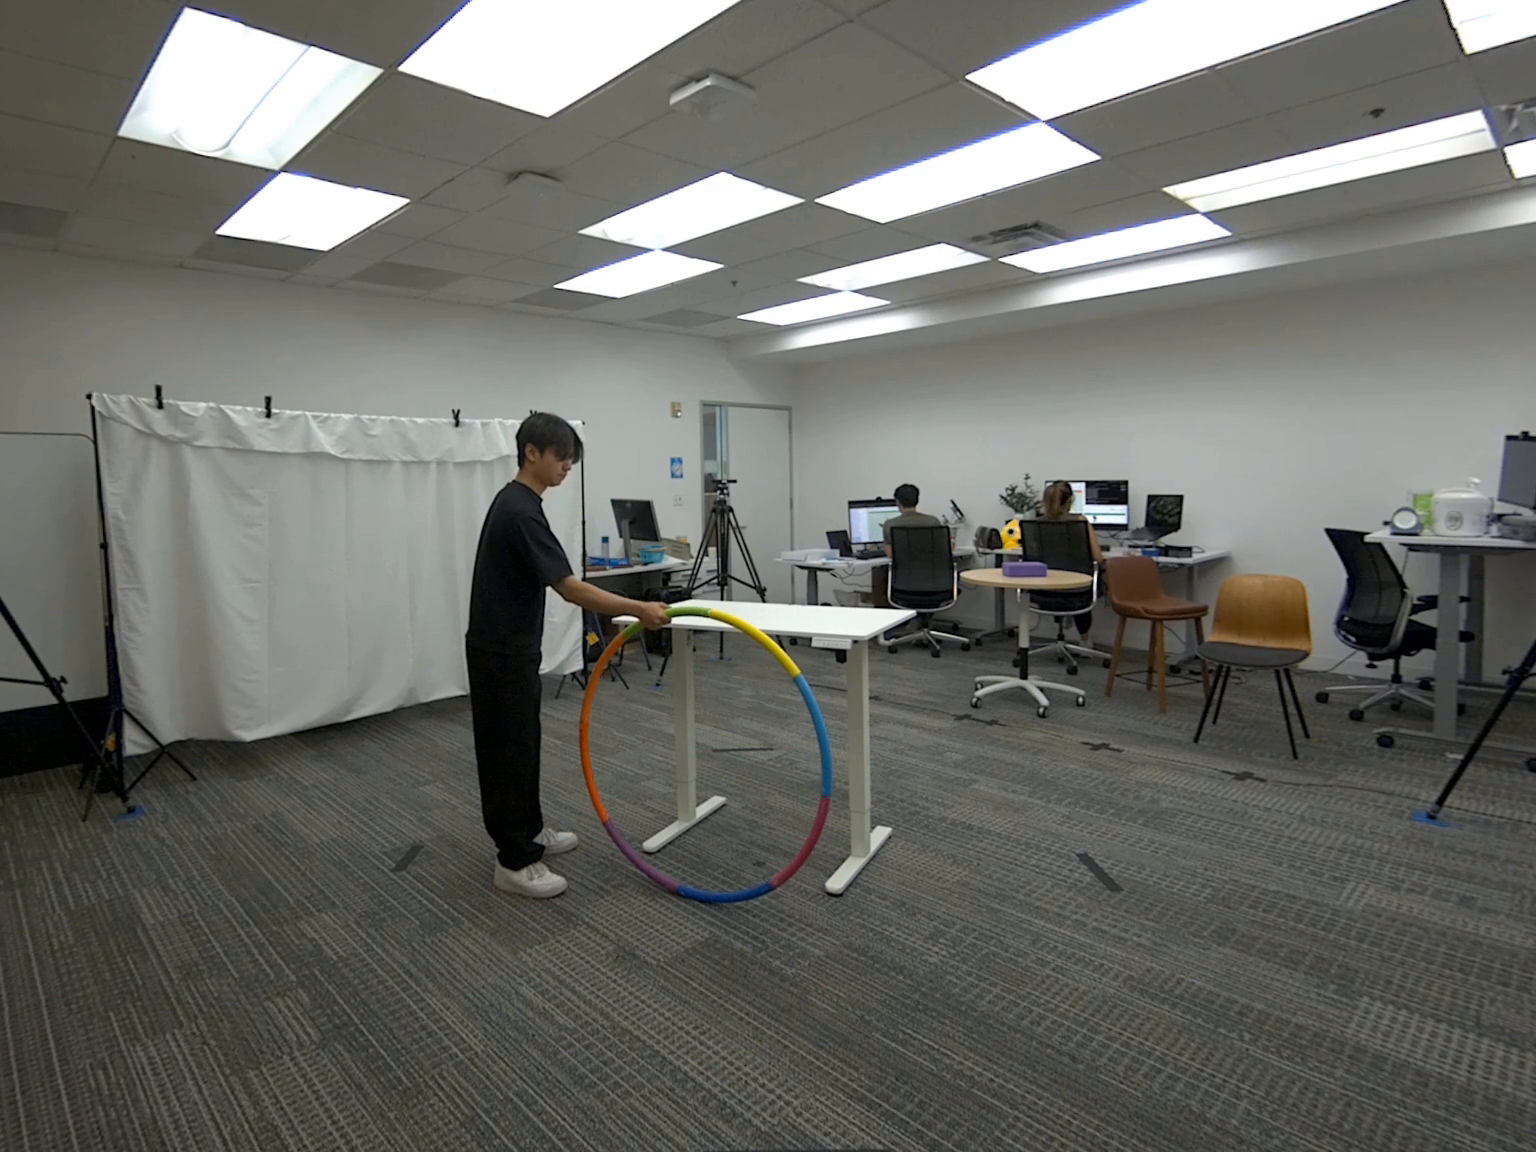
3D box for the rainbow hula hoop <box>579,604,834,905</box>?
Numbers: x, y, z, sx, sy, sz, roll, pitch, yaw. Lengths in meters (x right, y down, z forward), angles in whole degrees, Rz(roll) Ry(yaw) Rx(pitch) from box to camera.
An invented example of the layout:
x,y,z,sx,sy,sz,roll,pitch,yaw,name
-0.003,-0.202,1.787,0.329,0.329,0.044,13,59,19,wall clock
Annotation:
x,y,z,sx,sy,sz,roll,pitch,yaw,name
-0.234,0.598,2.849,1.004,0.978,0.035,2,1,29,rainbow hula hoop
